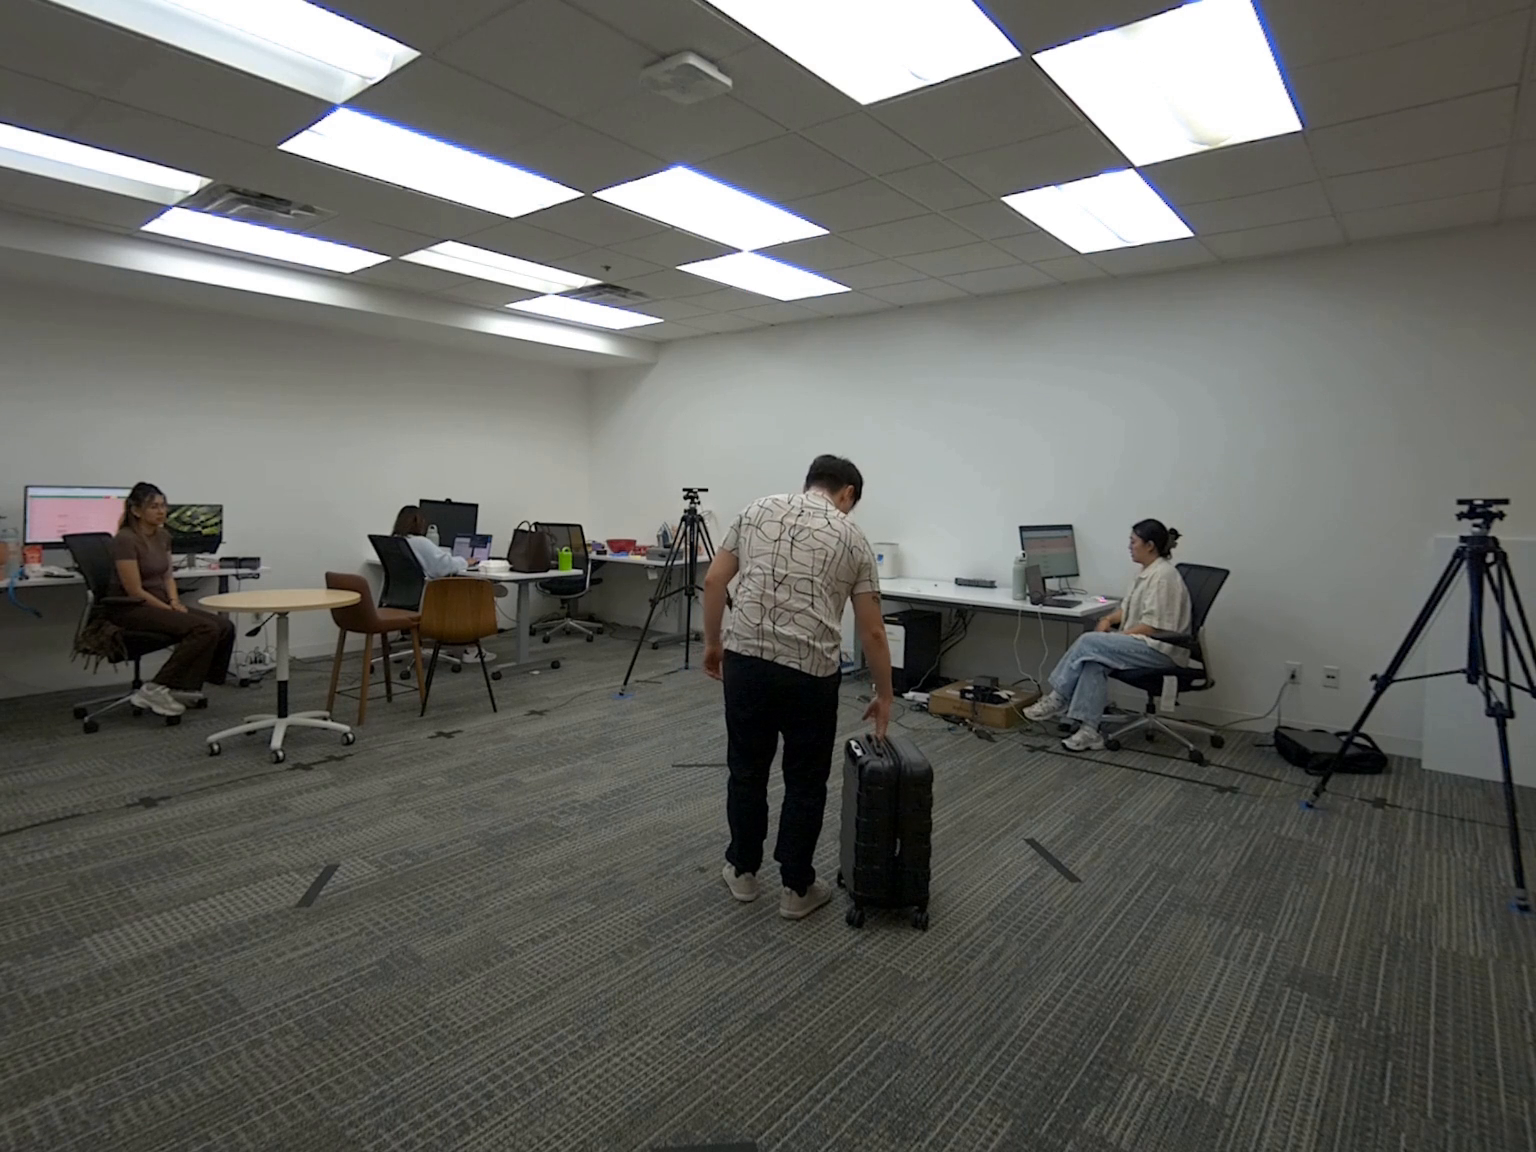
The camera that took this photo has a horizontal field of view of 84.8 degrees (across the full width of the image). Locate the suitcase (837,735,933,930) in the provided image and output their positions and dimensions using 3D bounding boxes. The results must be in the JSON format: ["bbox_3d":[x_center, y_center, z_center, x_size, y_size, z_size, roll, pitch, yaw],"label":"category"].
[{"bbox_3d":[0.384,0.833,2.873,0.248,0.548,0.377,2,2,-2],"label":"suitcase"}]
